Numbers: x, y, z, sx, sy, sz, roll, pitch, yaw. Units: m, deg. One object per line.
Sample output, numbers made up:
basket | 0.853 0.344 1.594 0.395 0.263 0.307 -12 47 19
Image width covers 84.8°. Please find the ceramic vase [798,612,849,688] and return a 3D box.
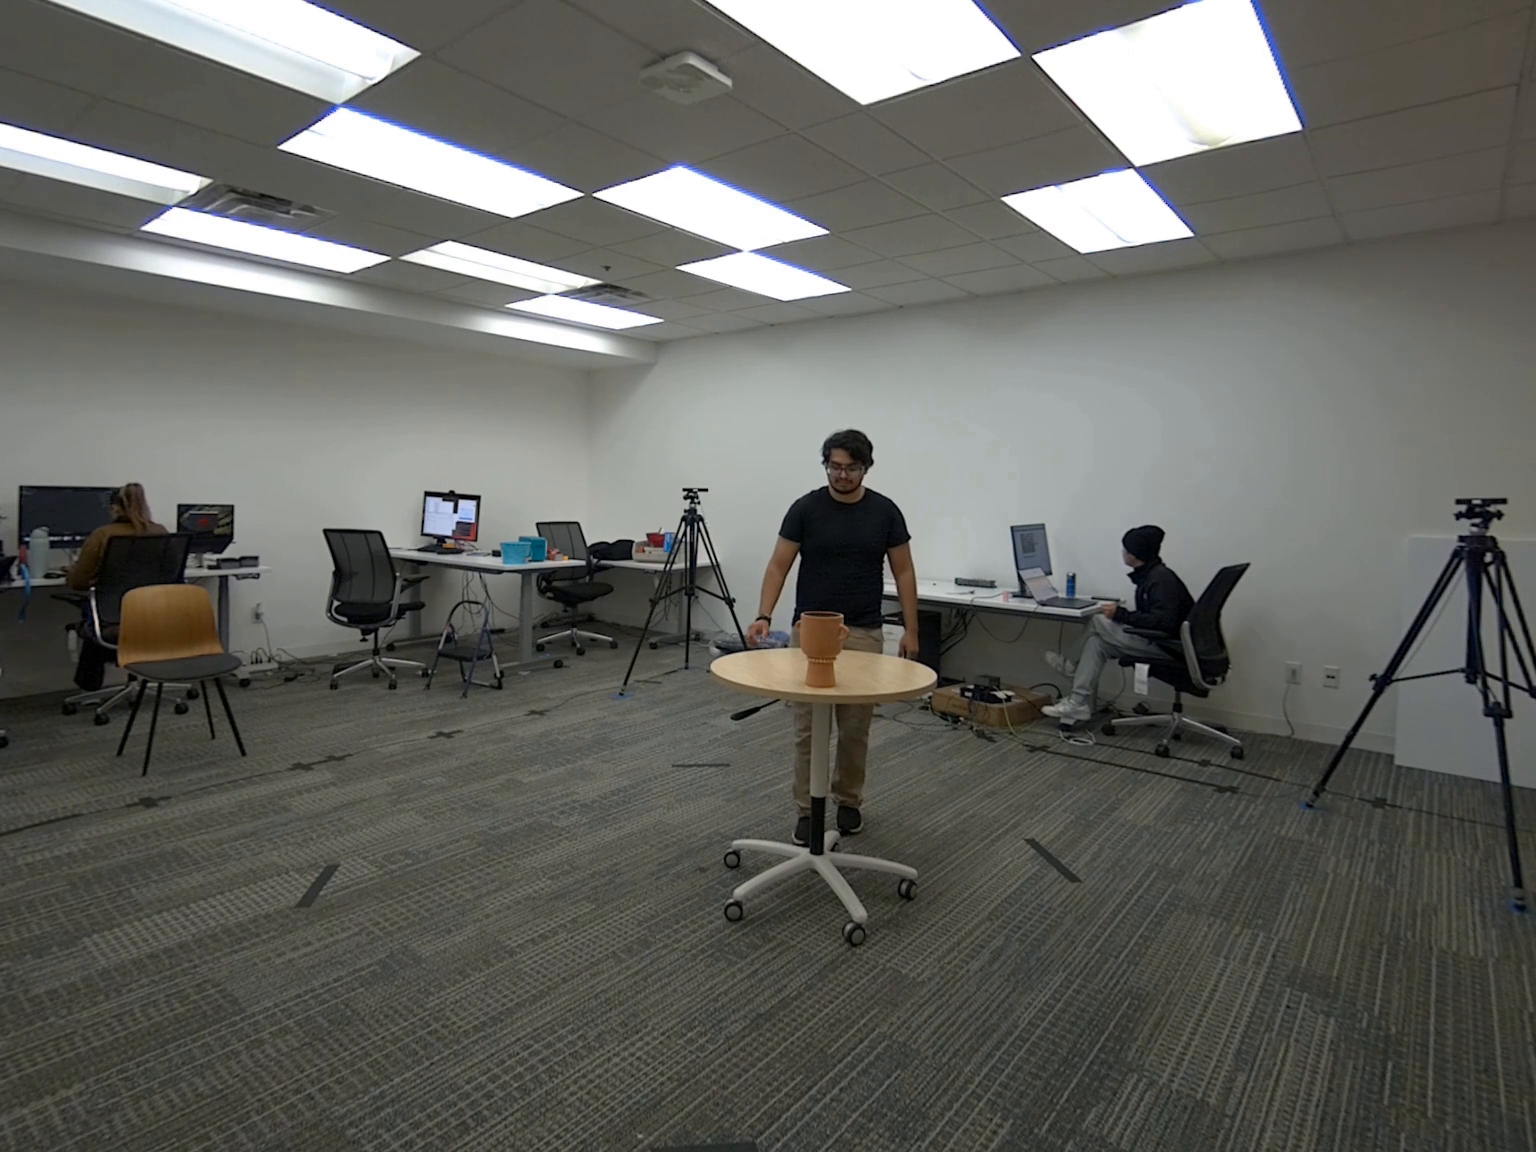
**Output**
ceramic vase | 0.162 0.231 2.662 0.132 0.219 0.162 2 3 -16
